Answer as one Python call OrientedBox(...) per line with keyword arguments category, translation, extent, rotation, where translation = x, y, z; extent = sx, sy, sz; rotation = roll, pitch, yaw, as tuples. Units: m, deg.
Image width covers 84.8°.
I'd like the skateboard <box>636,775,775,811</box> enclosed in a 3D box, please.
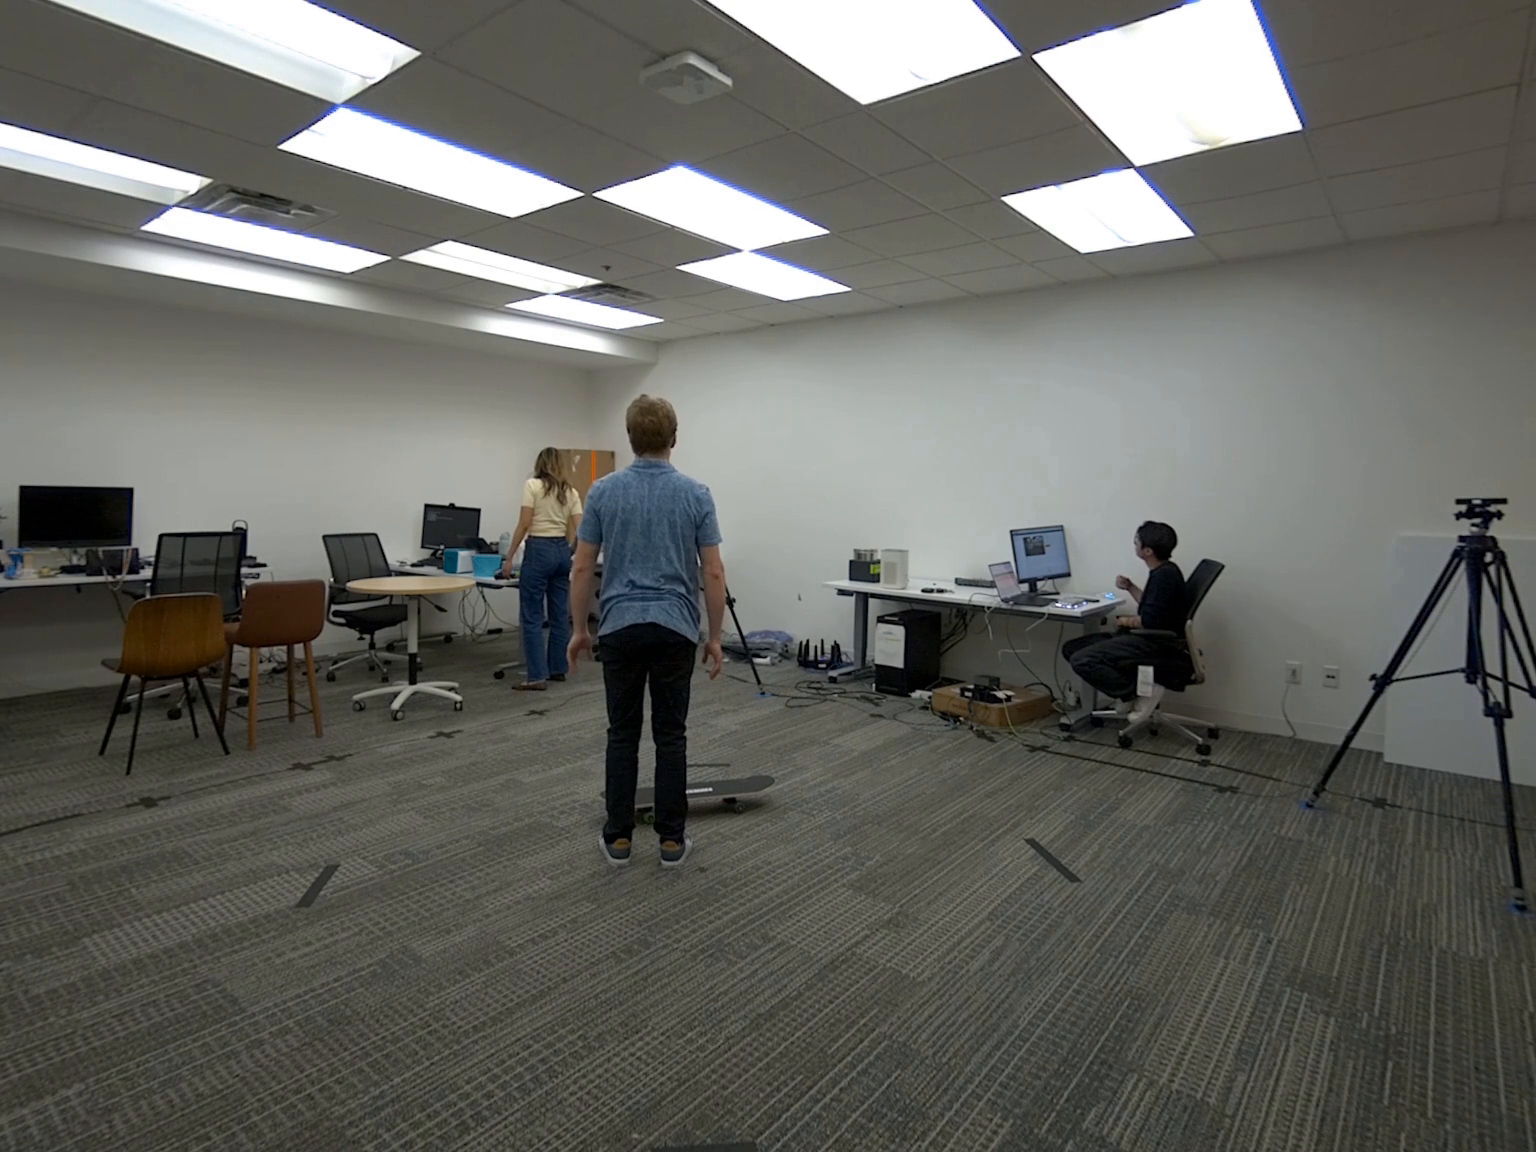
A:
OrientedBox(category="skateboard", translation=(-0.349, 0.963, 3.674), extent=(0.771, 0.110, 0.198), rotation=(-2, 6, -19))
